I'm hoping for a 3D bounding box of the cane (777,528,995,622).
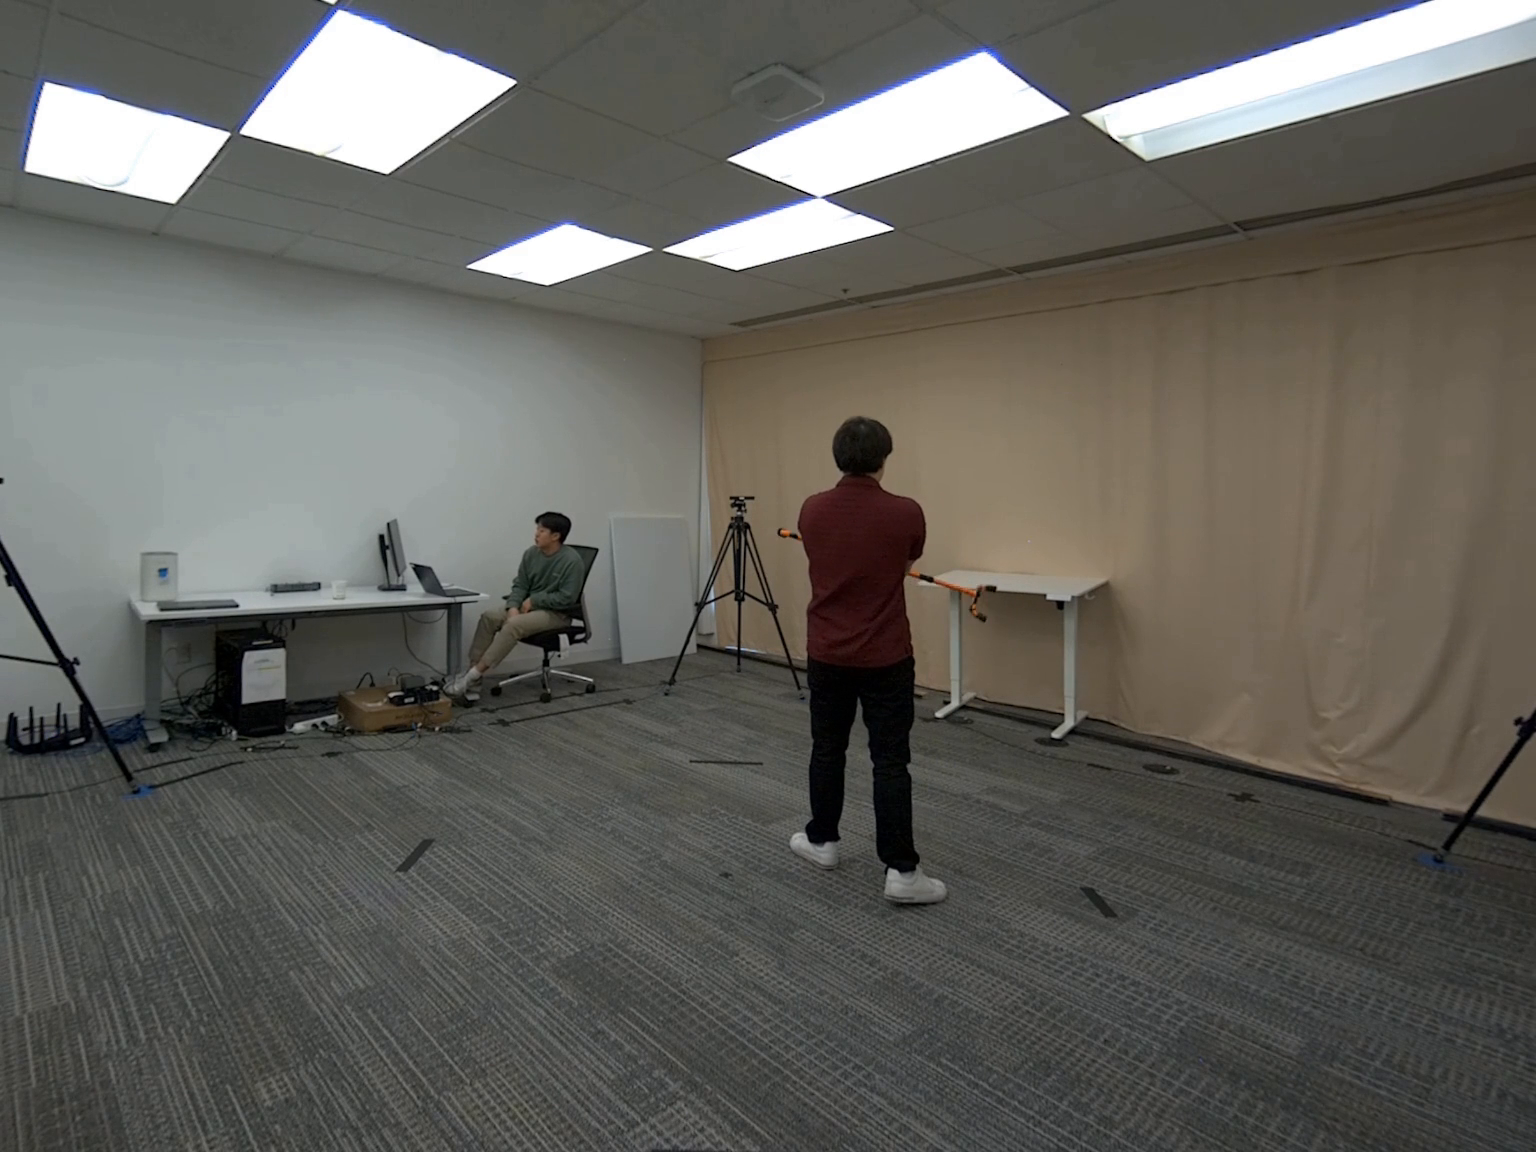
[{"bbox_3d":[0.458,-0.033,3.500,0.920,0.151,0.204,20,5,13],"label":"cane"}]
